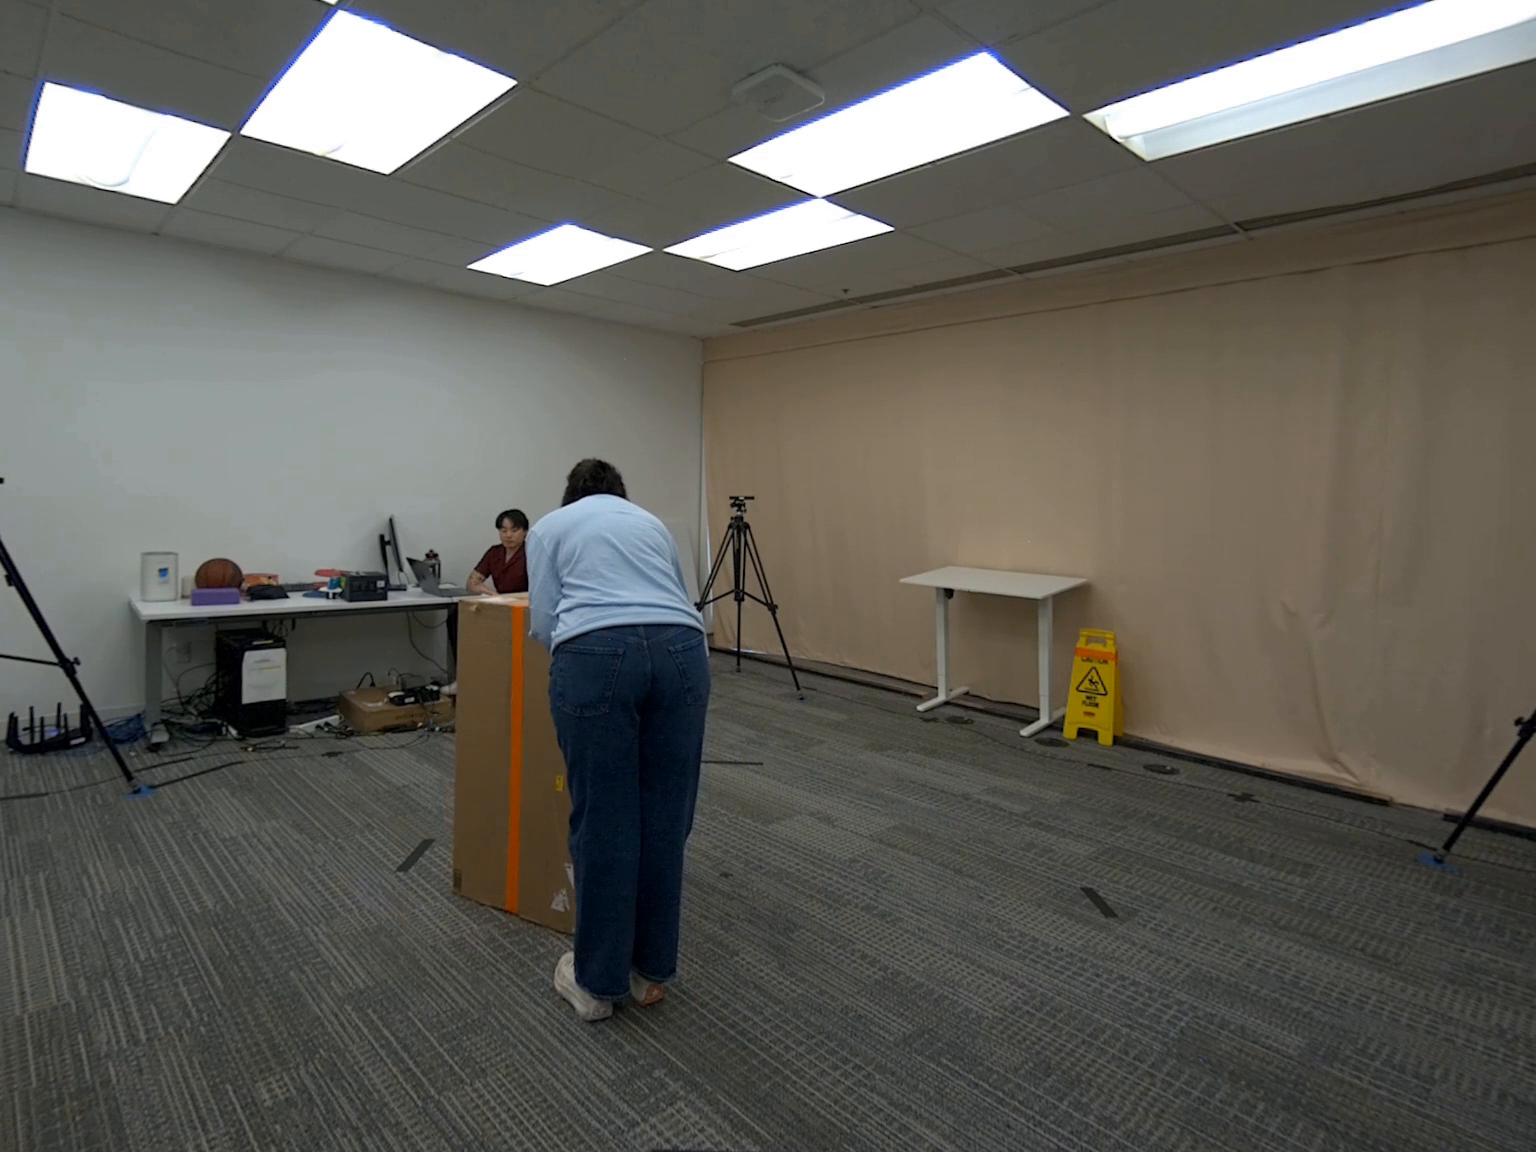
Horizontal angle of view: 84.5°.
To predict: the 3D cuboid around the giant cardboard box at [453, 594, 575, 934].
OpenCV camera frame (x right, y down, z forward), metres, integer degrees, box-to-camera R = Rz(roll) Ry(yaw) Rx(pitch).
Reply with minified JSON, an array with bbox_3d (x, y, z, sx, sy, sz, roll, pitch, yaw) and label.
[{"bbox_3d":[-0.743,0.600,2.942,0.590,1.024,0.417,3,2,30],"label":"giant cardboard box"}]
